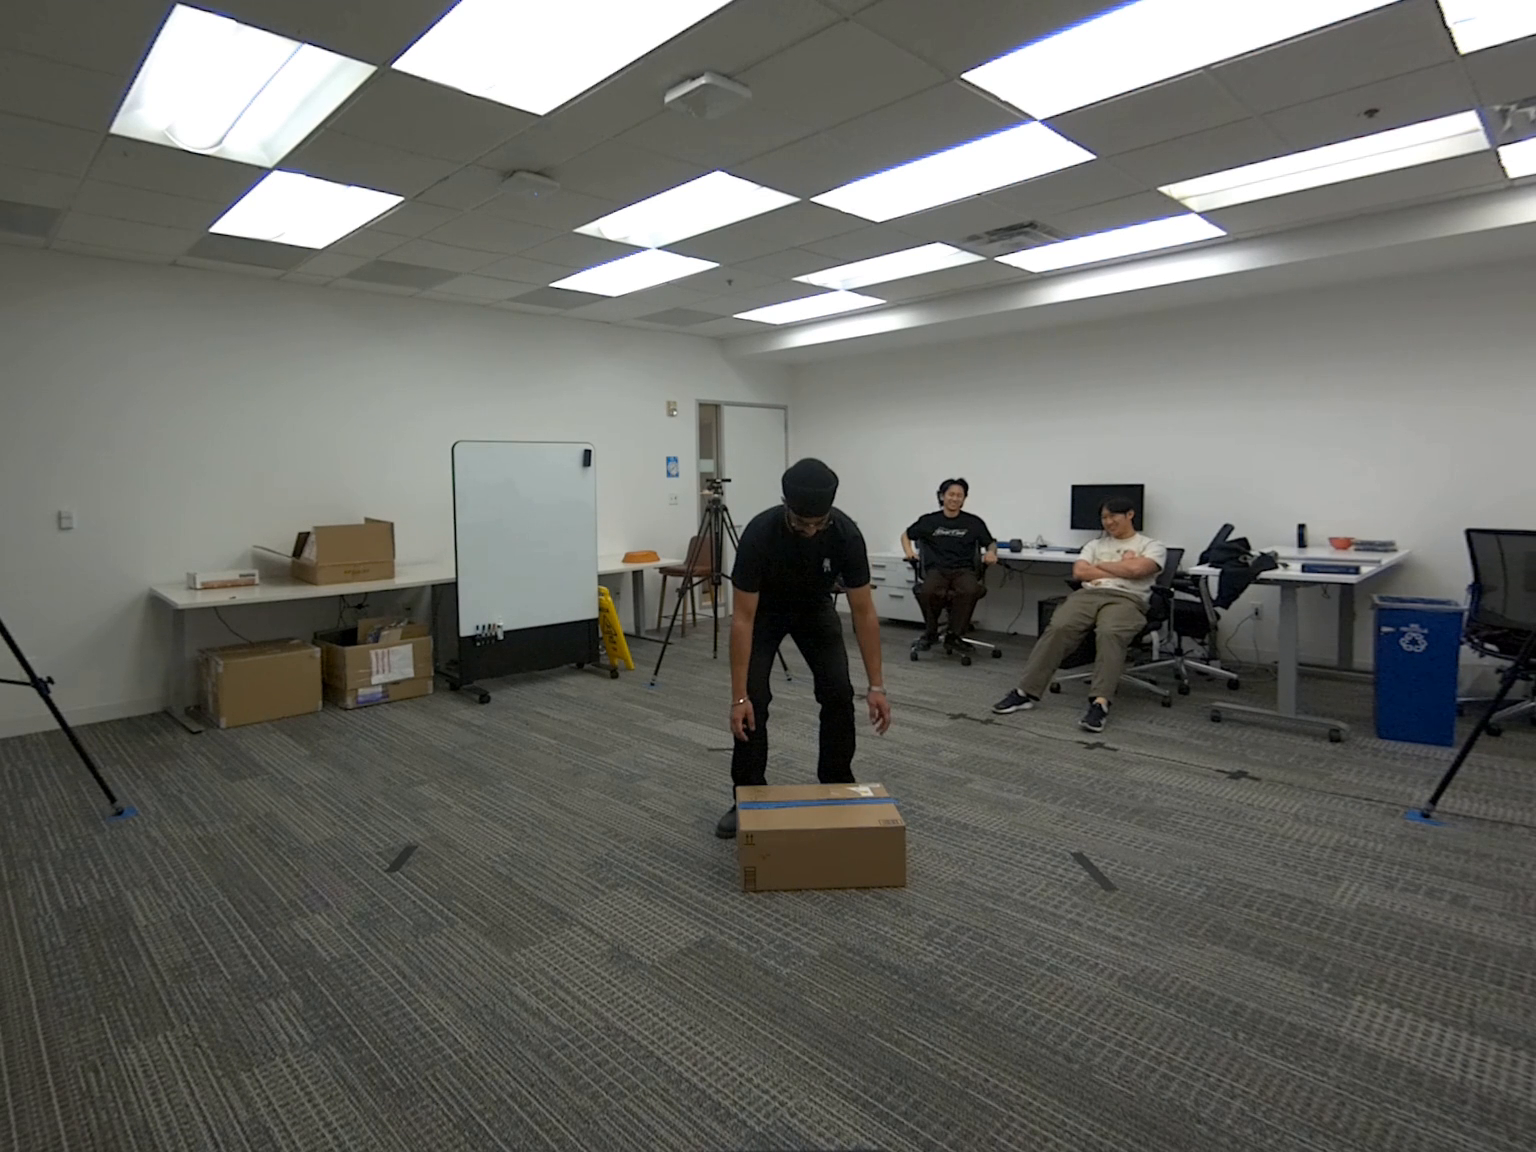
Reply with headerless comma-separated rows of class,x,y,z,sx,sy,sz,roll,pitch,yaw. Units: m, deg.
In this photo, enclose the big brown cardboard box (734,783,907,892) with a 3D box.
big brown cardboard box,0.180,0.942,3.083,0.588,0.232,0.421,-2,7,-3
